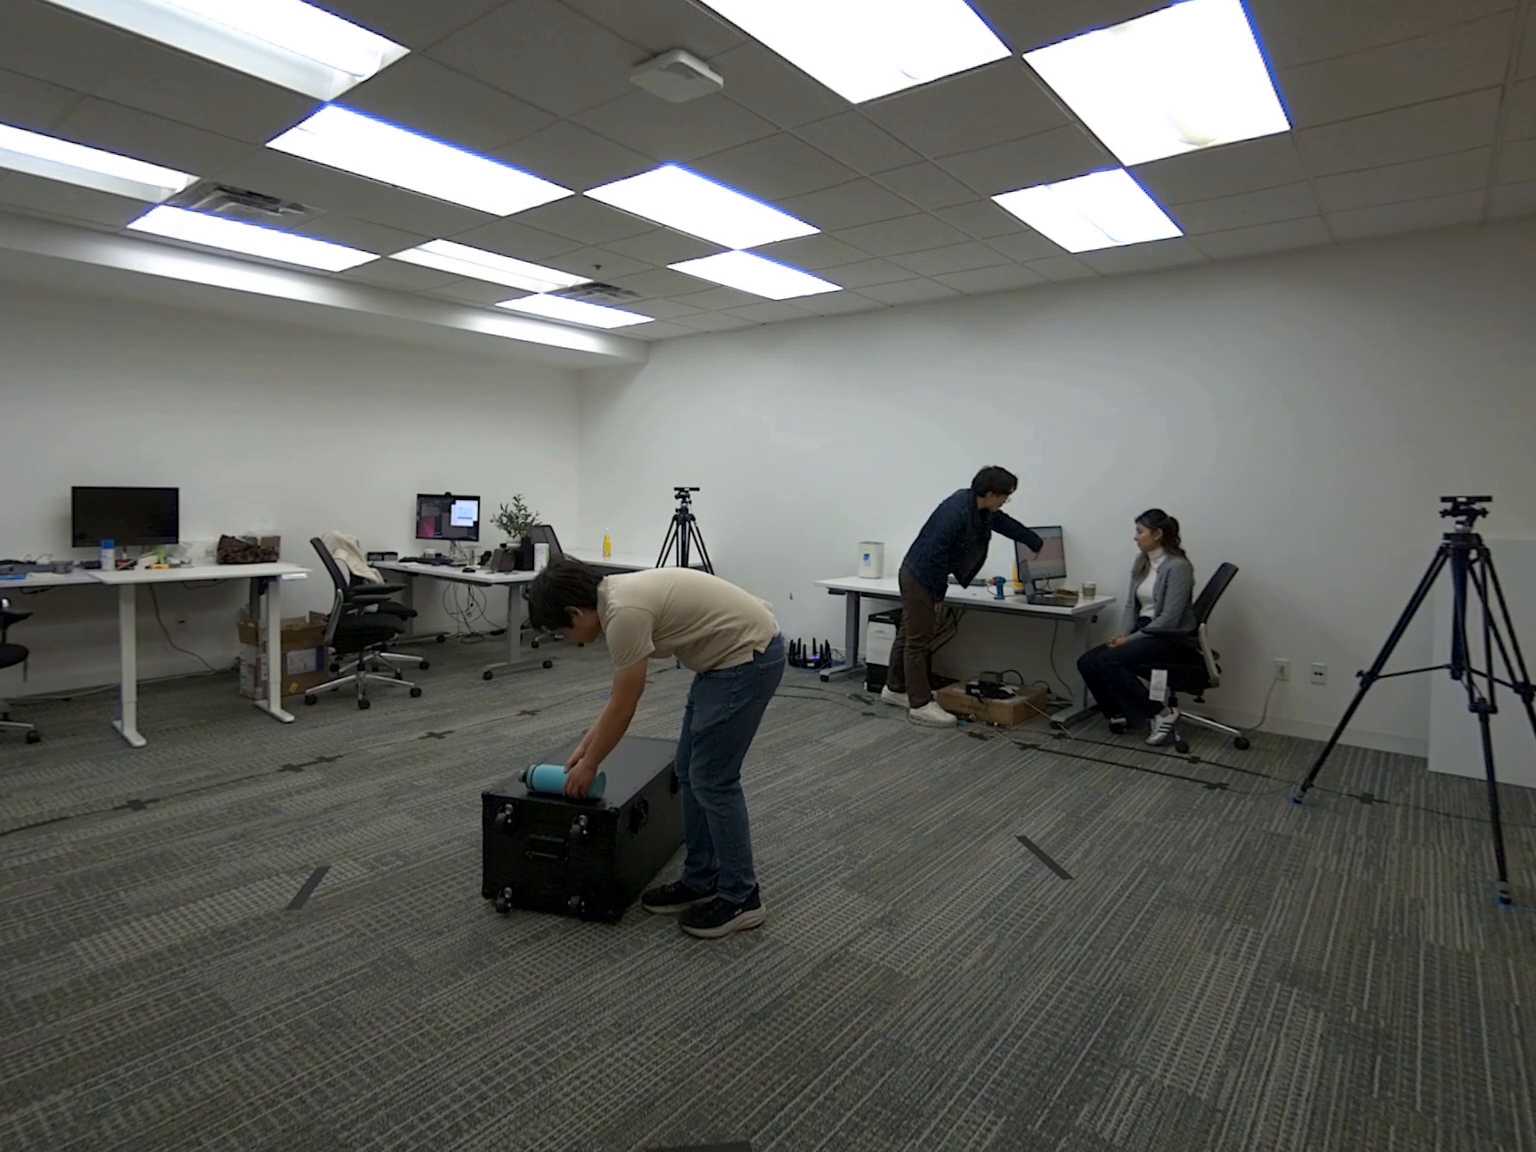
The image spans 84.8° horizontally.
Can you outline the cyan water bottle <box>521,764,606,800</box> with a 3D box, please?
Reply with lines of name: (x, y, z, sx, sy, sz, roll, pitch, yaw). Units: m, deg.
cyan water bottle: (-0.694, 0.672, 2.811, 0.287, 0.092, 0.091, 2, 4, 12)
